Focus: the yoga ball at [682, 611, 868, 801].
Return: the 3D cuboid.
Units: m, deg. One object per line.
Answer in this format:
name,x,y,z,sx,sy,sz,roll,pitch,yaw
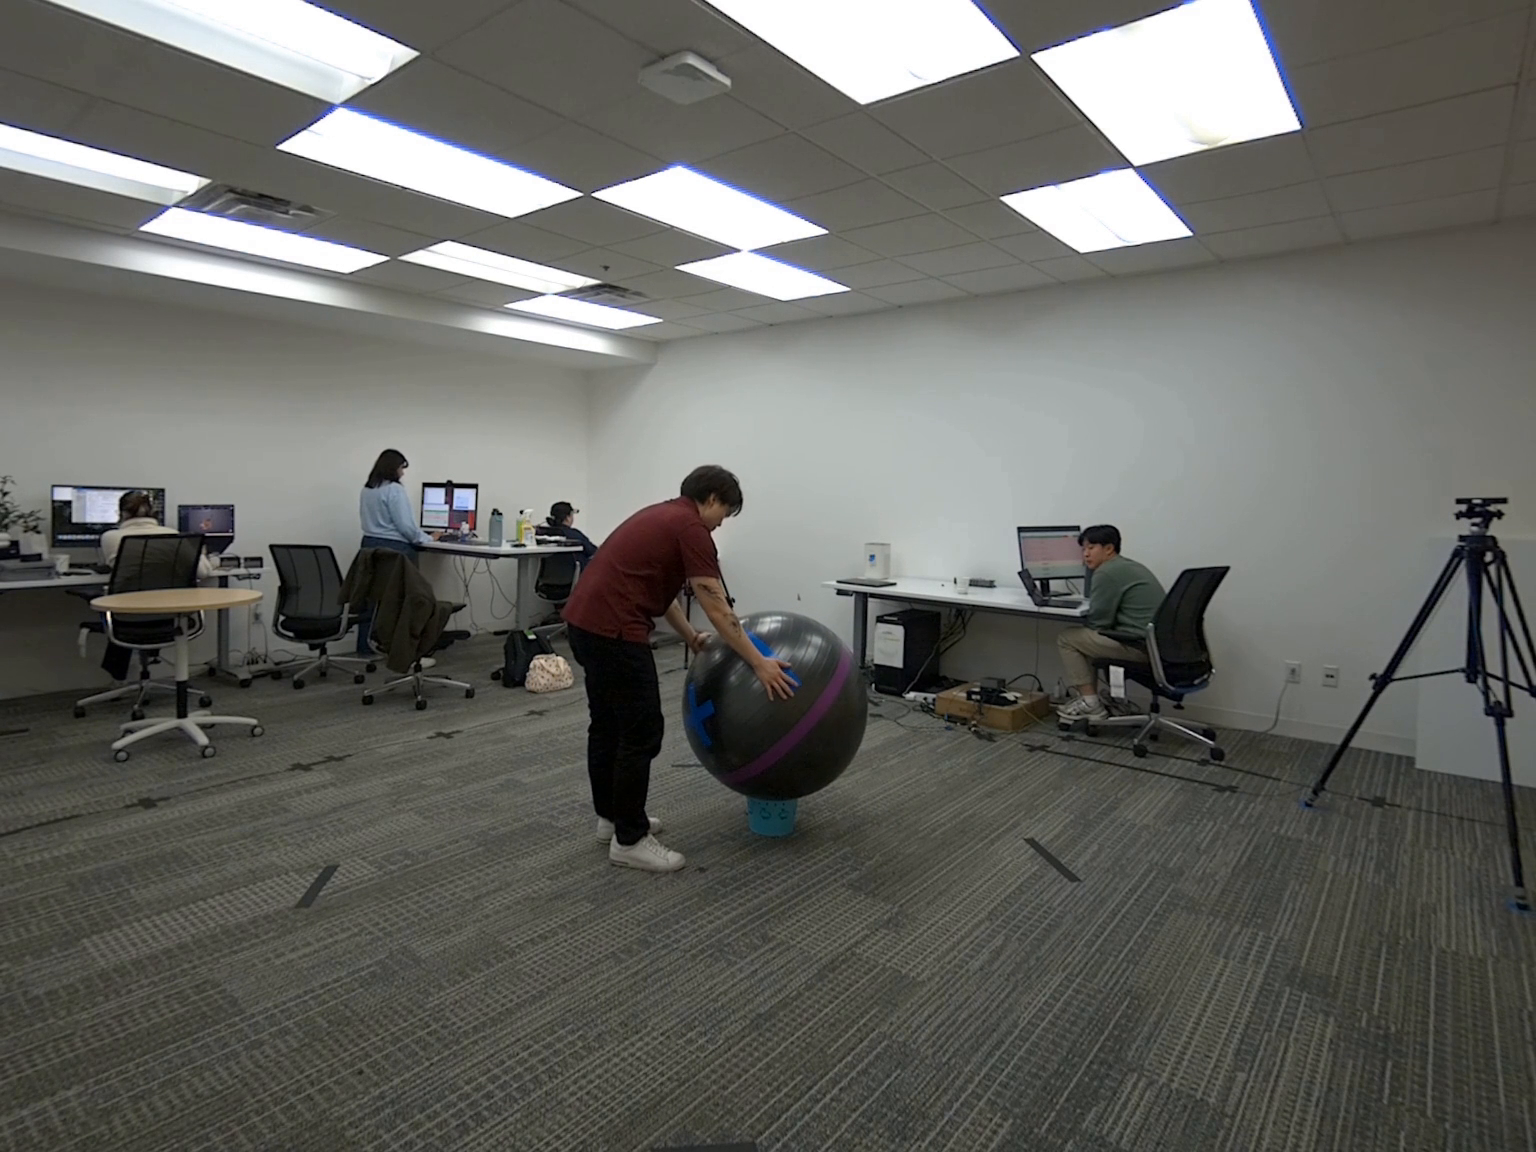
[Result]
yoga ball,0.020,0.530,3.495,0.757,0.755,0.762,1,4,-2
